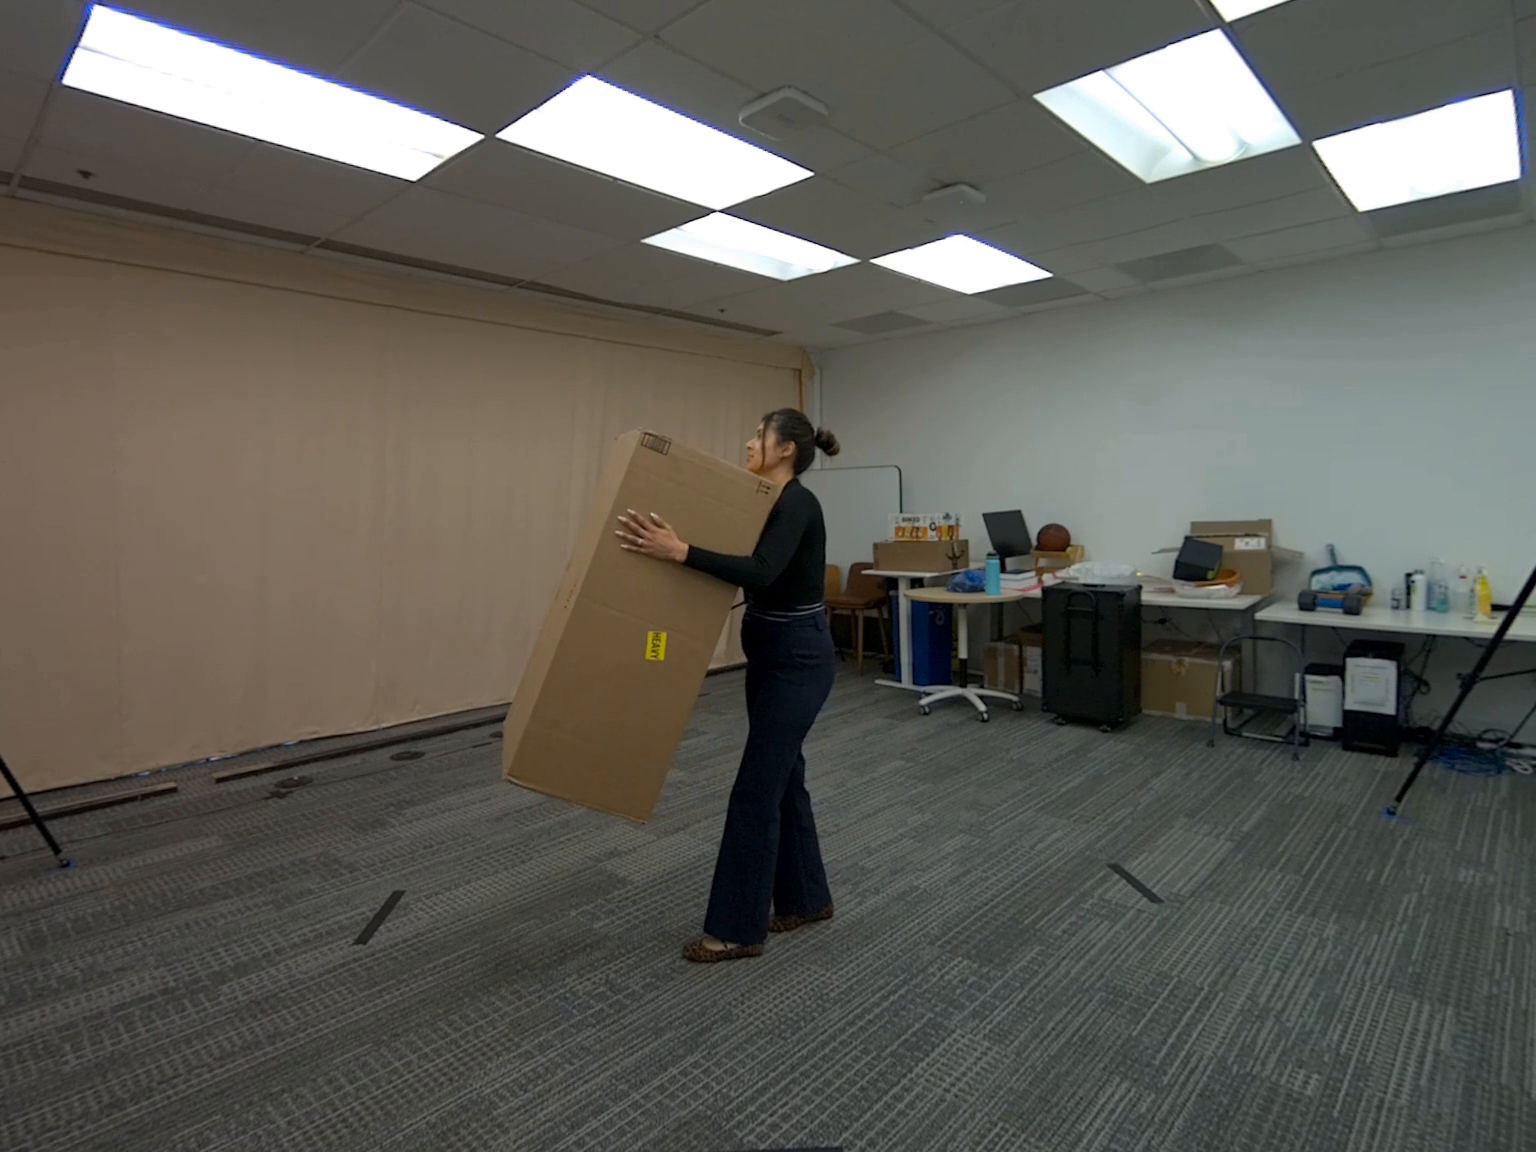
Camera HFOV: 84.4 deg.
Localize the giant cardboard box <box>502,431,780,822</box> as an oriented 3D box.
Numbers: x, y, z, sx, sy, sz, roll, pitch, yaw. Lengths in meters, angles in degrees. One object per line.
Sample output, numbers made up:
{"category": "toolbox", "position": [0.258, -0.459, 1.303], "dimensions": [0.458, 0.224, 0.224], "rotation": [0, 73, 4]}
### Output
{"category": "giant cardboard box", "position": [-0.423, 0.117, 2.580], "dimensions": [0.418, 1.026, 0.589], "rotation": [22, -2, -18]}
